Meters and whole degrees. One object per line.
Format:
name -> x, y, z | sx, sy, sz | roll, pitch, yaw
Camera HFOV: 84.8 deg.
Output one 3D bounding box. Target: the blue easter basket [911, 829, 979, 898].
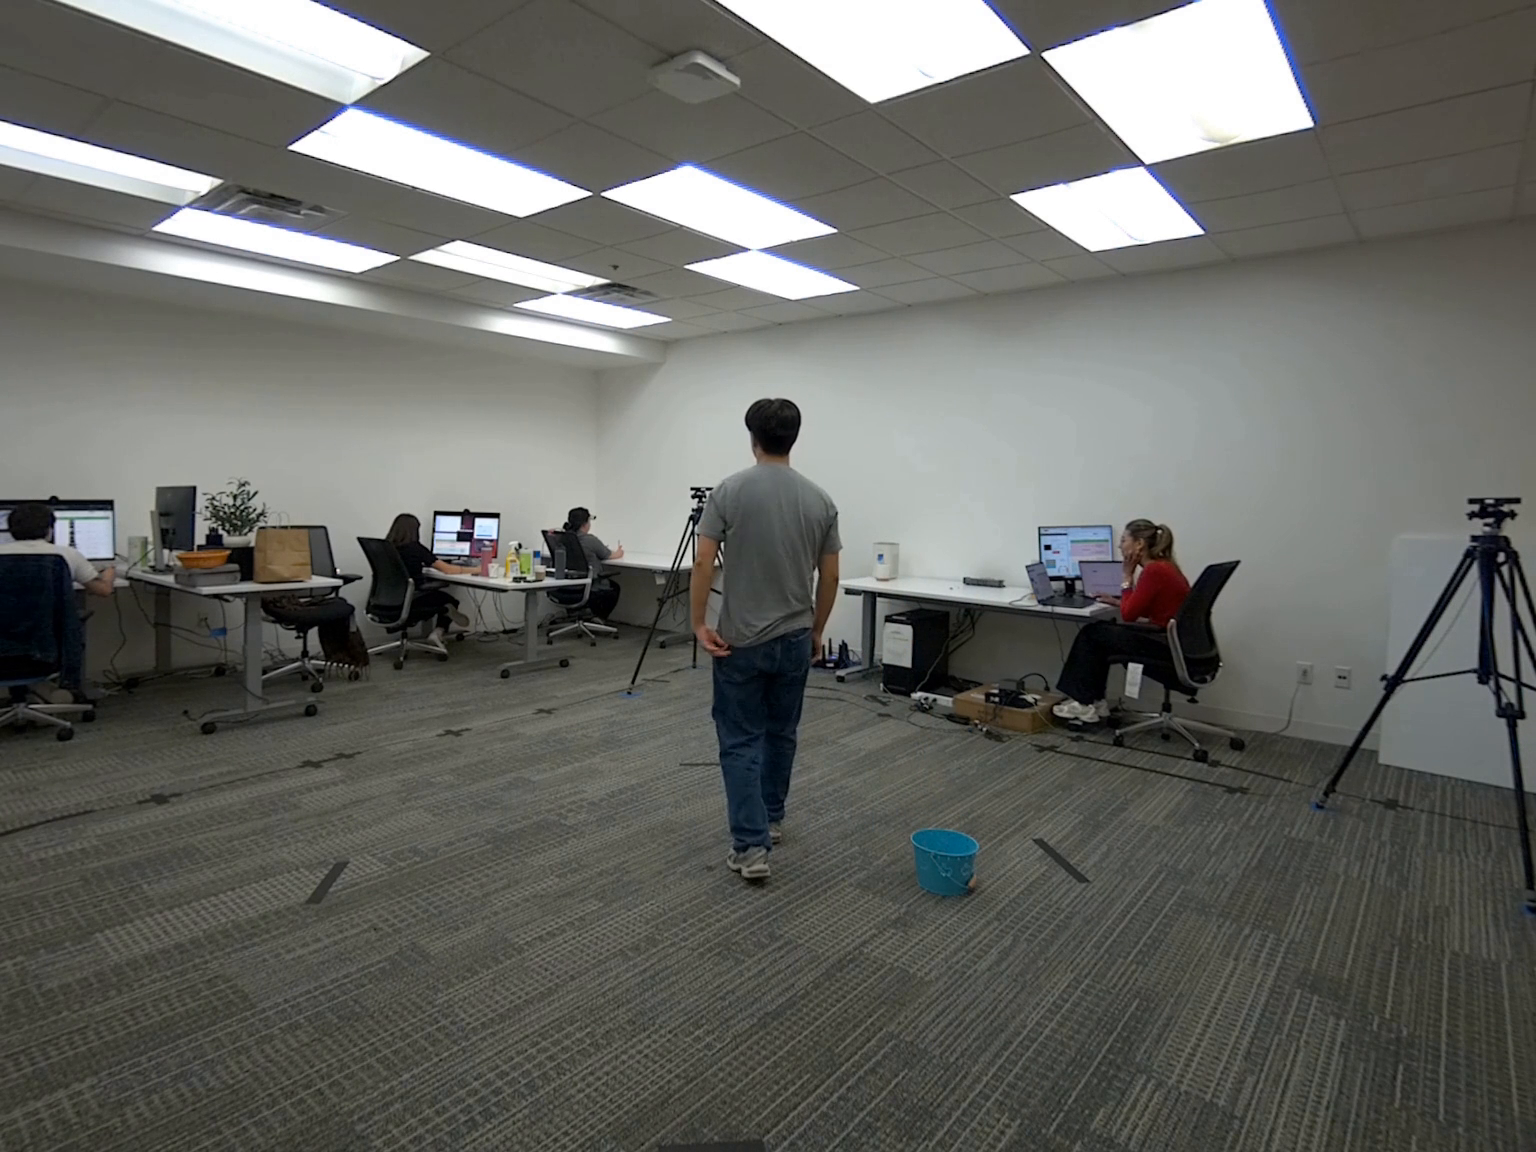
blue easter basket -> 0.618, 1.015, 3.024 | 0.243, 0.155, 0.245 | 1, 5, -2
